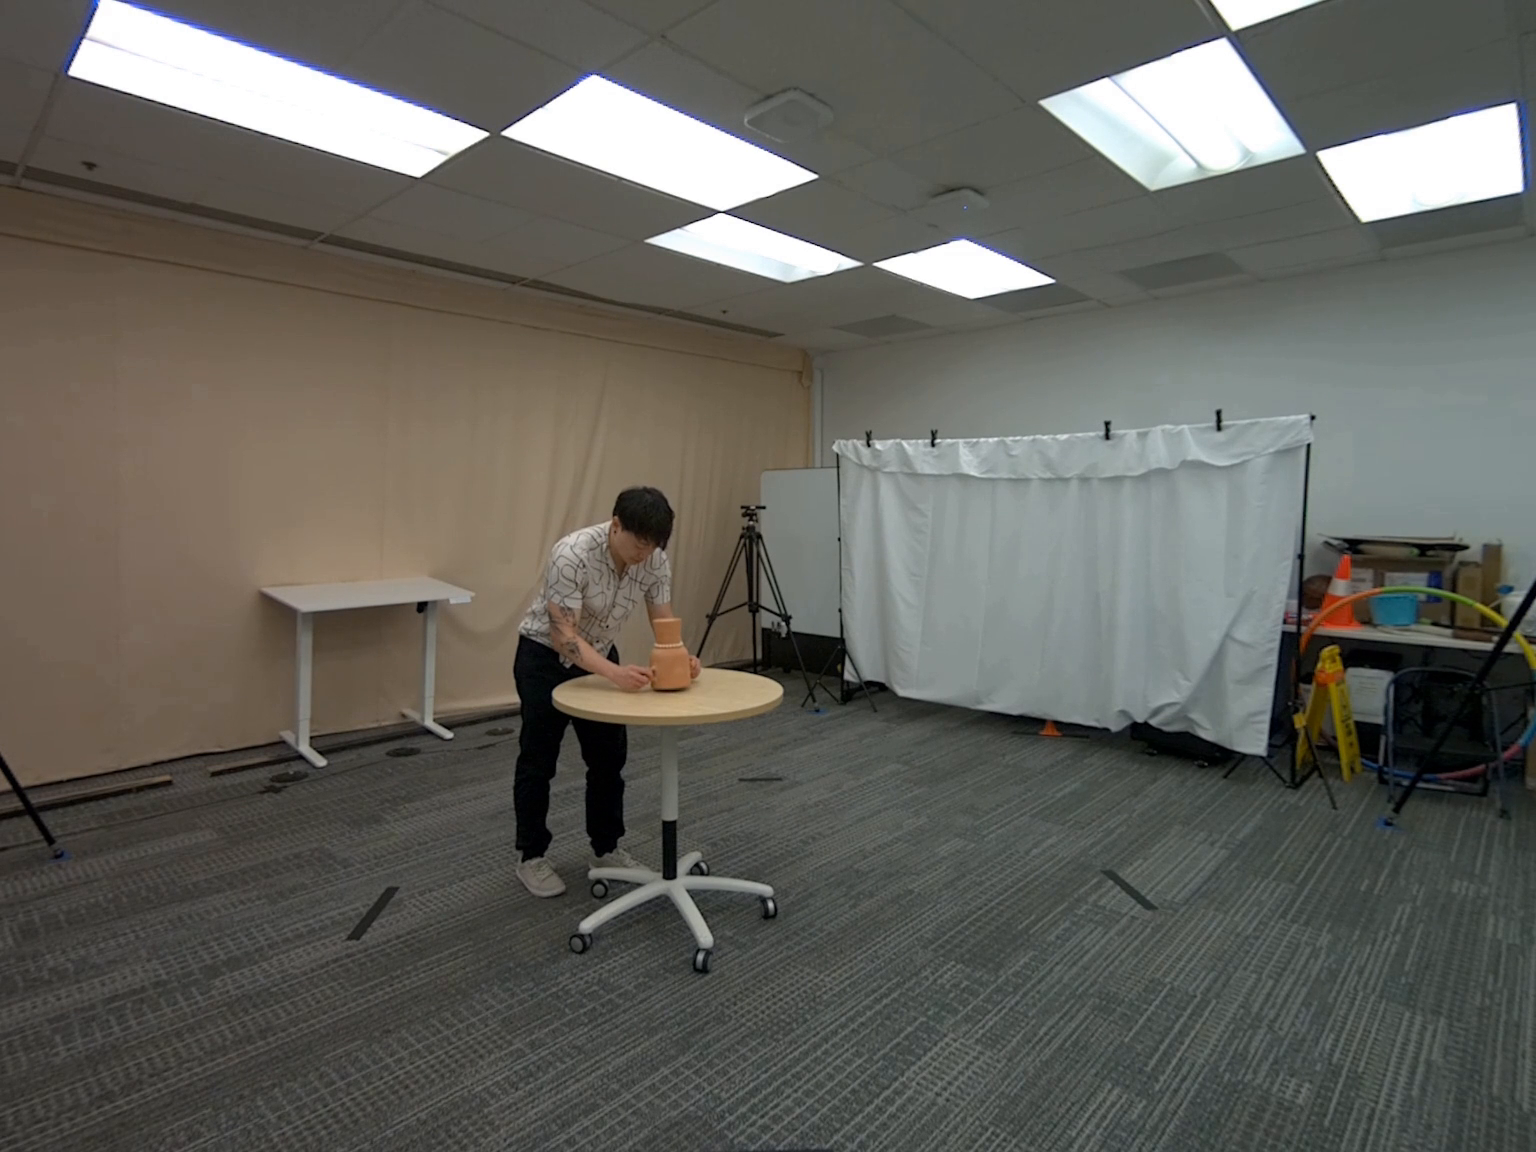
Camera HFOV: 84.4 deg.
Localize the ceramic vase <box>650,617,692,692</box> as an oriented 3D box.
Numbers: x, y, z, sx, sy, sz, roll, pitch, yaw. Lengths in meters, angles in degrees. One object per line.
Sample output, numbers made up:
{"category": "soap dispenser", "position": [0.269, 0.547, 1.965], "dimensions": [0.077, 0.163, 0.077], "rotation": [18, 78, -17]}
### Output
{"category": "ceramic vase", "position": [-0.332, 0.257, 2.794], "dimensions": [0.136, 0.220, 0.157], "rotation": [-5, 1, 7]}
